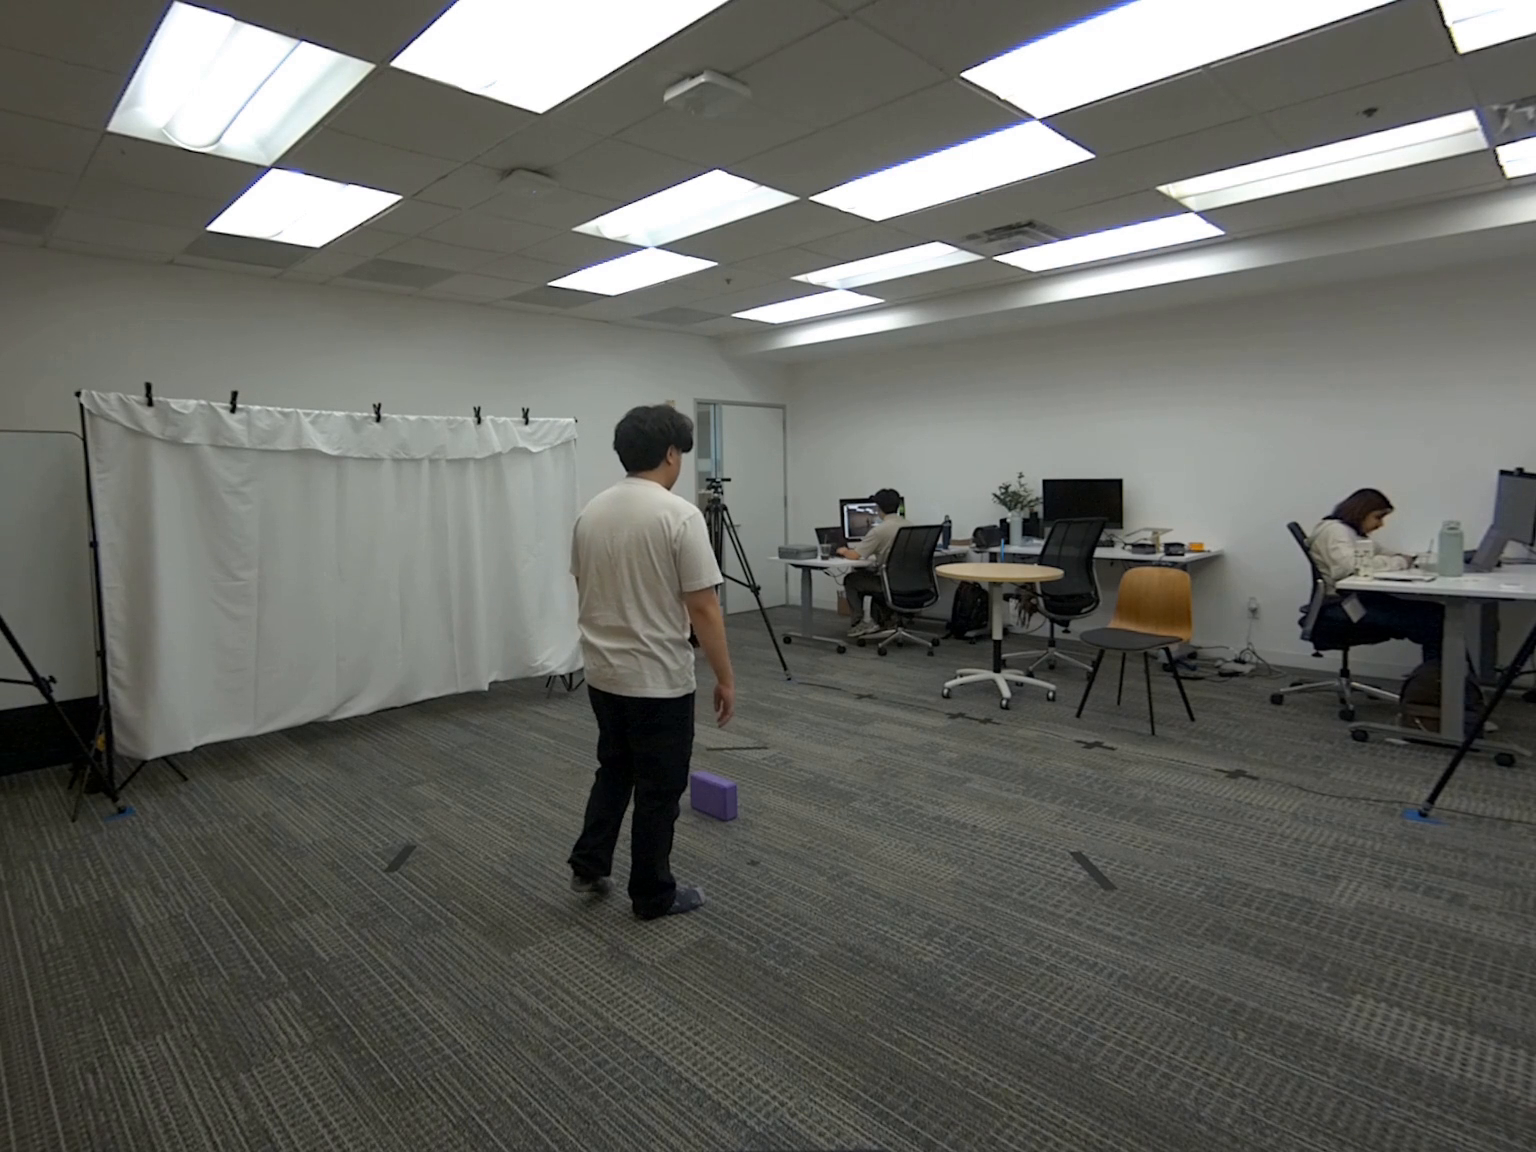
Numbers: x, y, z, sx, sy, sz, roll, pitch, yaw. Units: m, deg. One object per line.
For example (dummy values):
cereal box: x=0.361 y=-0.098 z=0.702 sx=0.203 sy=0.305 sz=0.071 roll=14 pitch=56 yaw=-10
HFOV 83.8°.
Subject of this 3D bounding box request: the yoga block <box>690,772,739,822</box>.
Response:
yoga block: x=-0.226 y=0.916 z=3.579 sx=0.074 sy=0.148 sz=0.236 roll=-5 pitch=6 yaw=-42
